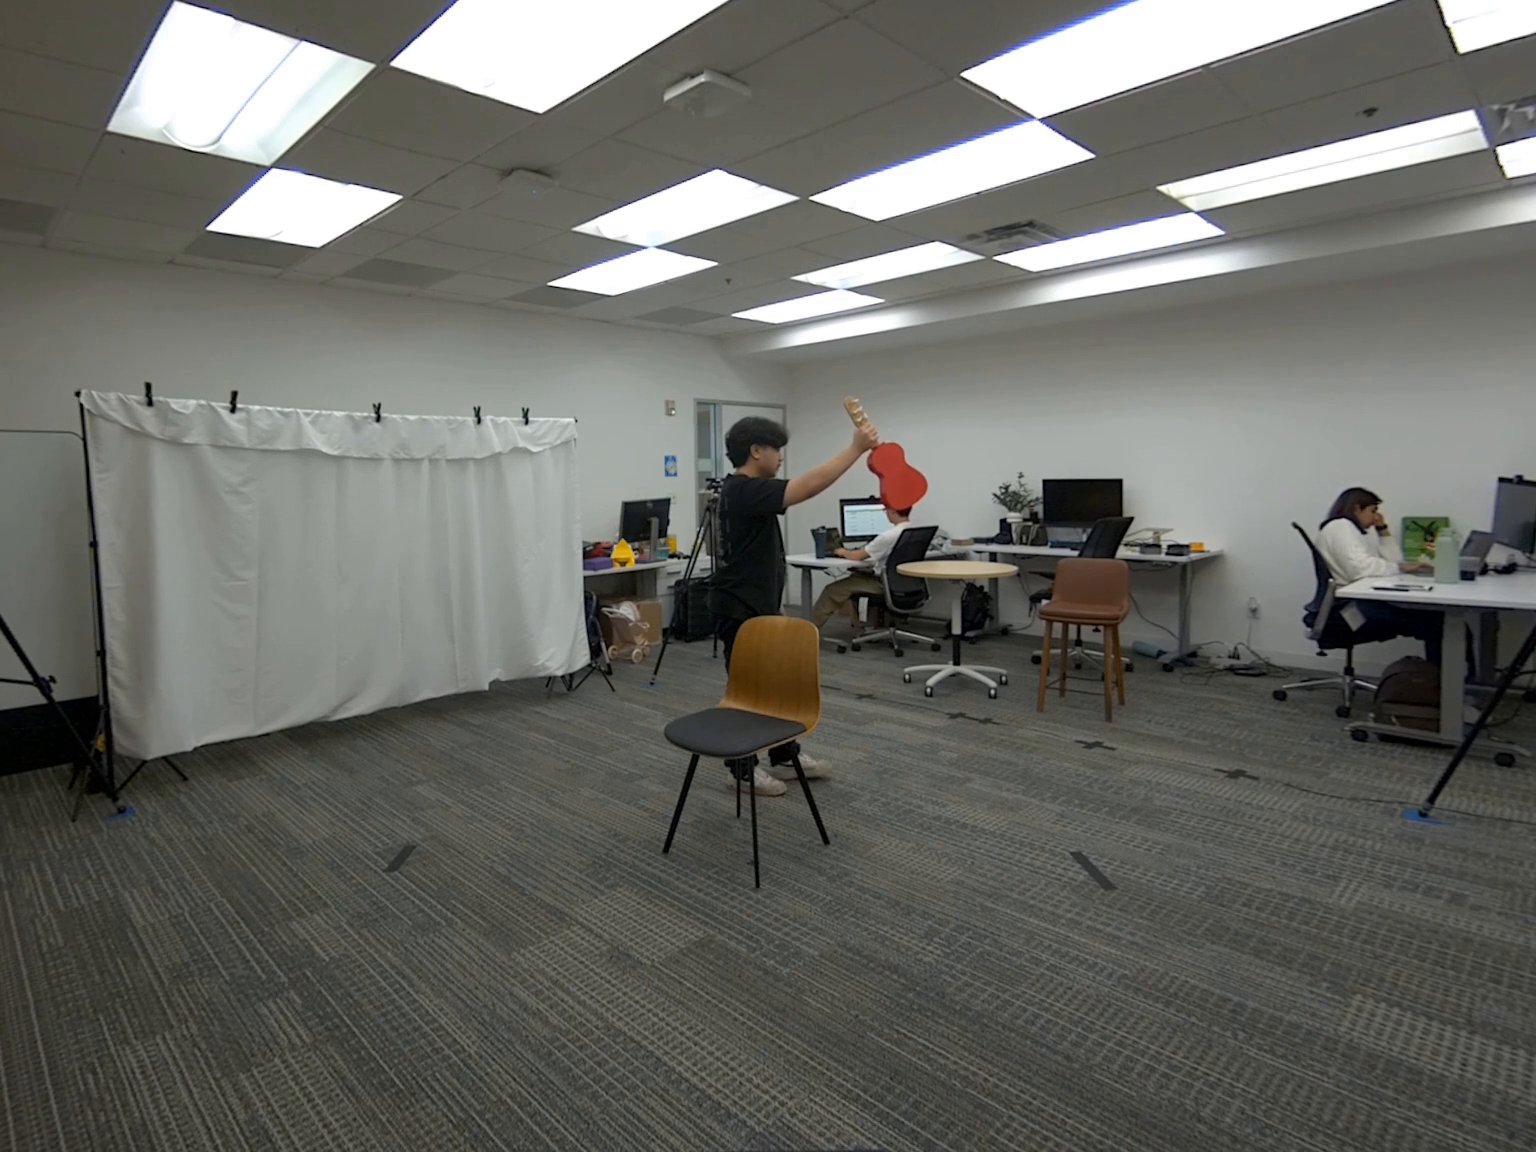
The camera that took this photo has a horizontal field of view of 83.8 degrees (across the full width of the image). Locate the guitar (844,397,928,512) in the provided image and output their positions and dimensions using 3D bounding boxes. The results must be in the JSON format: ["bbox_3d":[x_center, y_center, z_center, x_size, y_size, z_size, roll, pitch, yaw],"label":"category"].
[{"bbox_3d":[0.431,-0.481,3.438,0.193,0.493,0.071,-40,7,-9],"label":"guitar"}]
